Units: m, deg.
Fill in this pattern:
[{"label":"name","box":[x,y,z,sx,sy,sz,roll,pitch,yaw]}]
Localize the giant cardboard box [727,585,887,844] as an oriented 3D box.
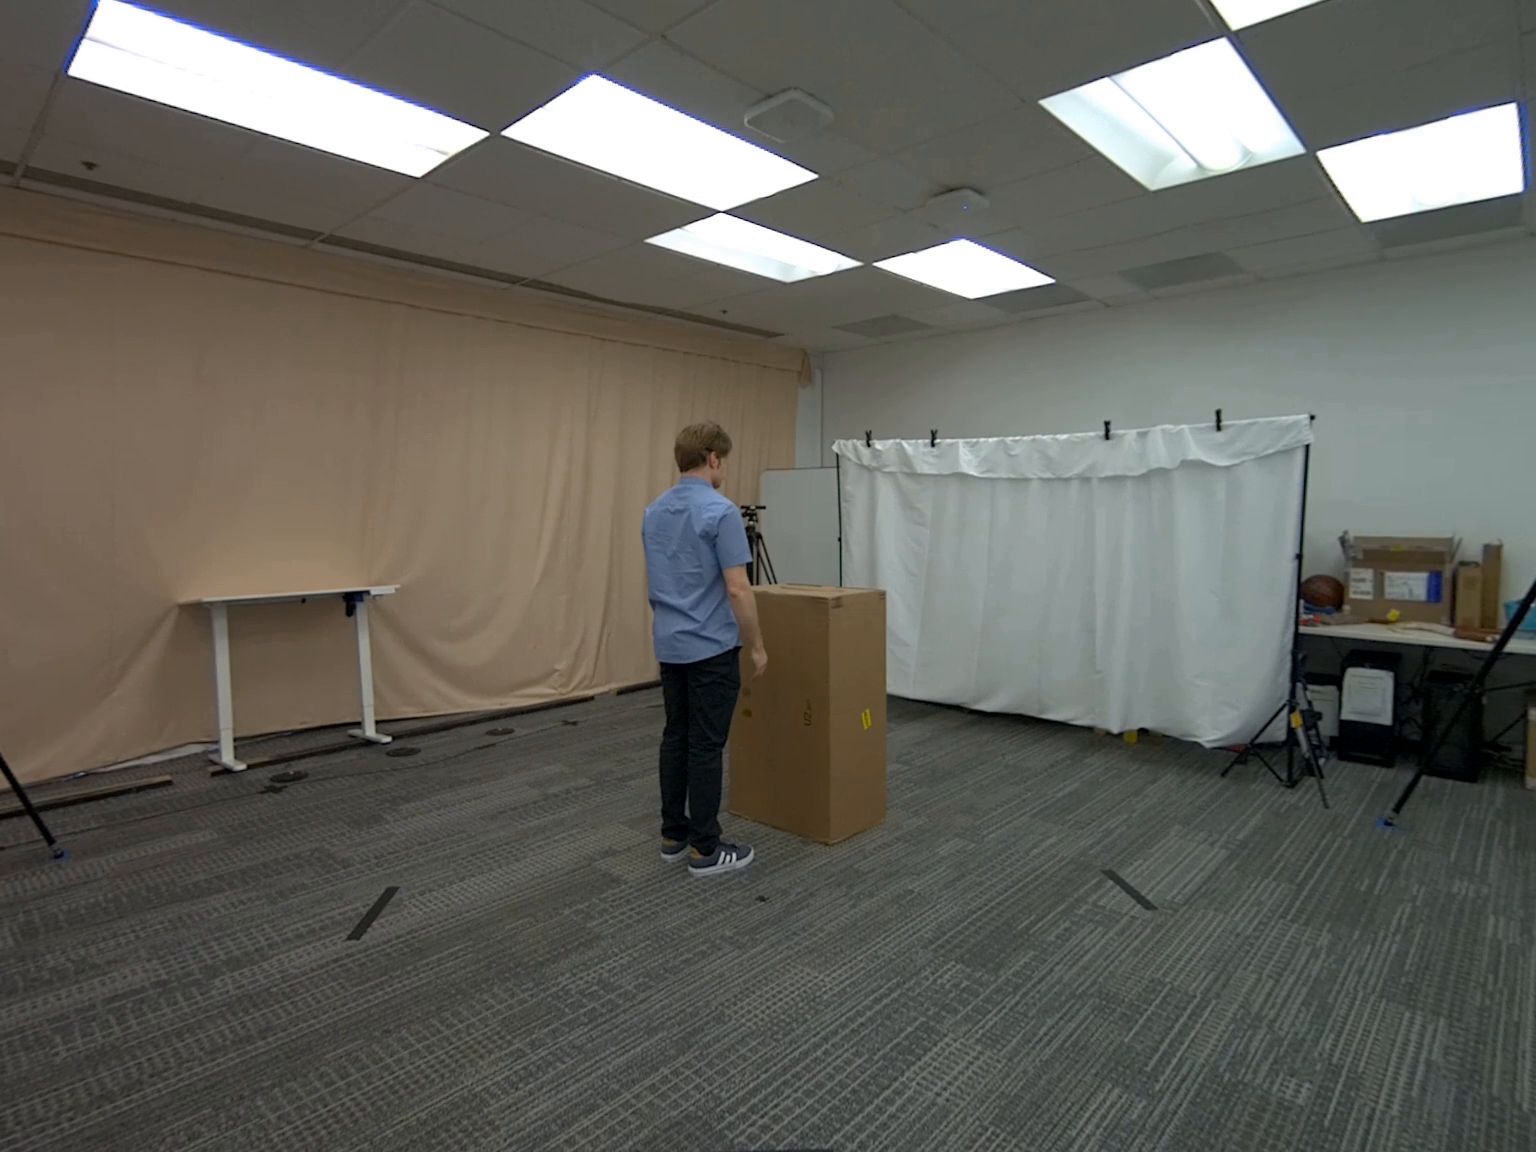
[{"label":"giant cardboard box","box":[0.174,0.570,3.774,0.596,1.024,0.413,2,3,42]}]
